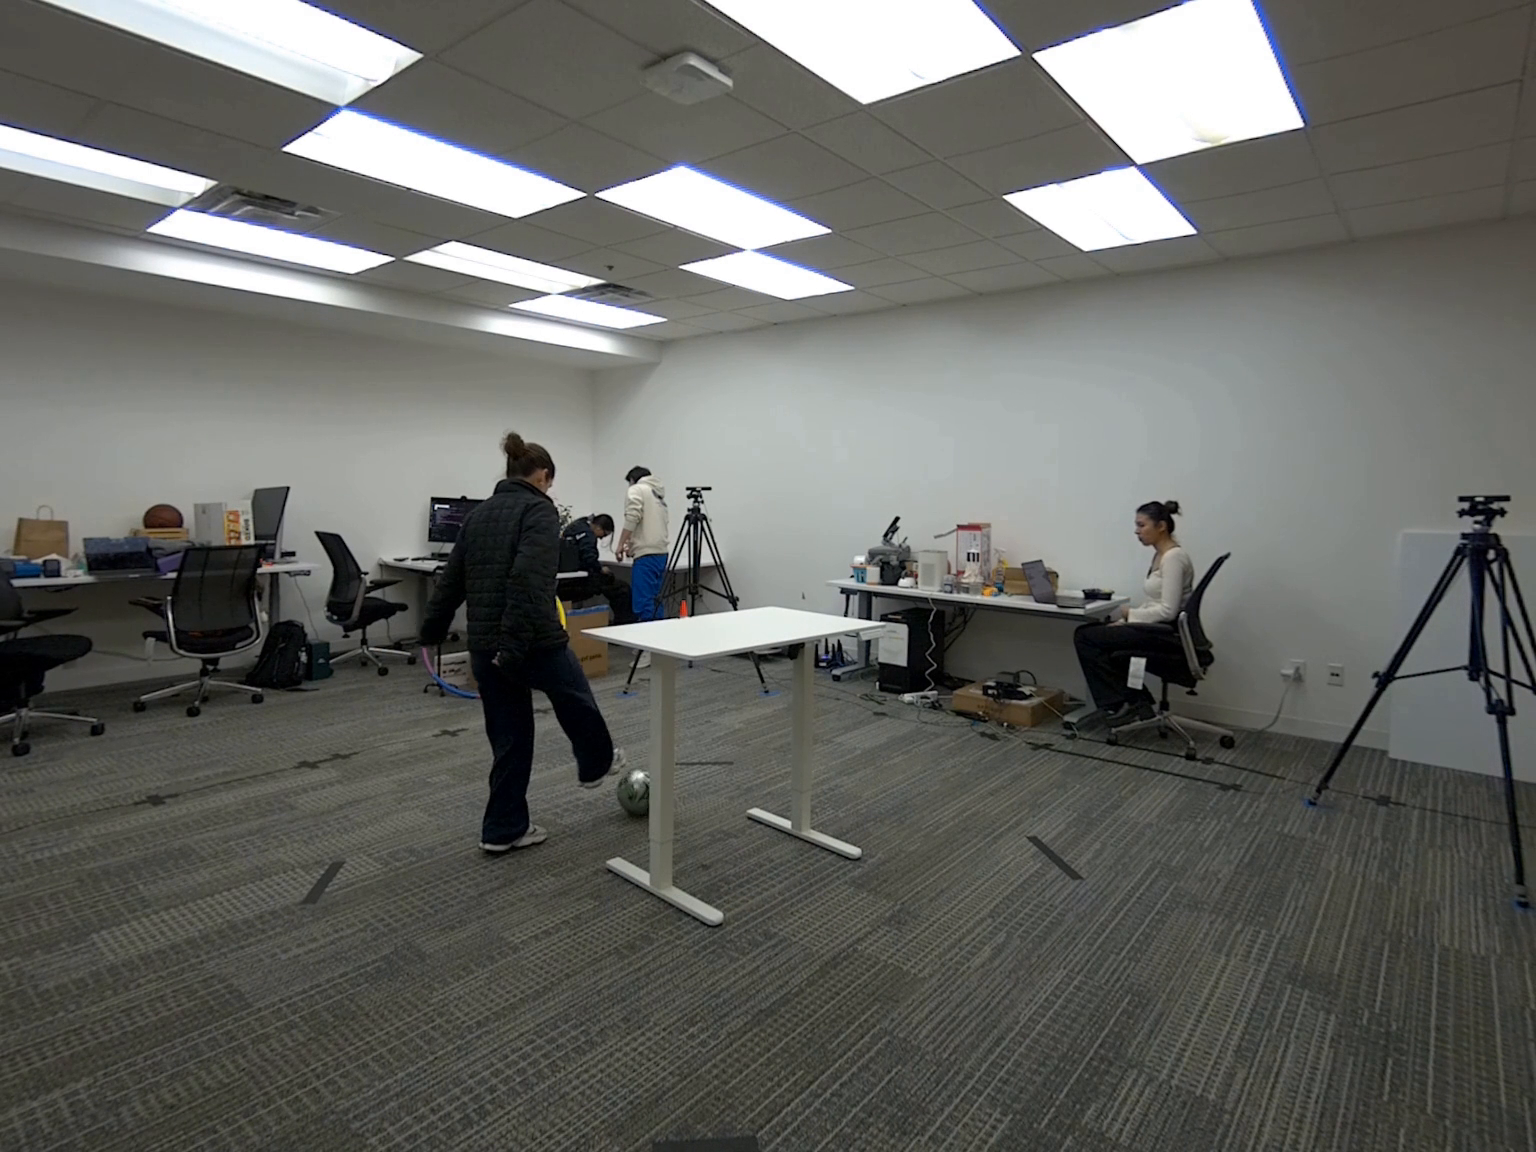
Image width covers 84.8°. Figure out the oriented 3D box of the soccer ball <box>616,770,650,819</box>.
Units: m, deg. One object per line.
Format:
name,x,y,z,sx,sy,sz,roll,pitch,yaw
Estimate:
soccer ball,-0.554,0.912,3.611,0.187,0.187,0.188,1,4,-2
